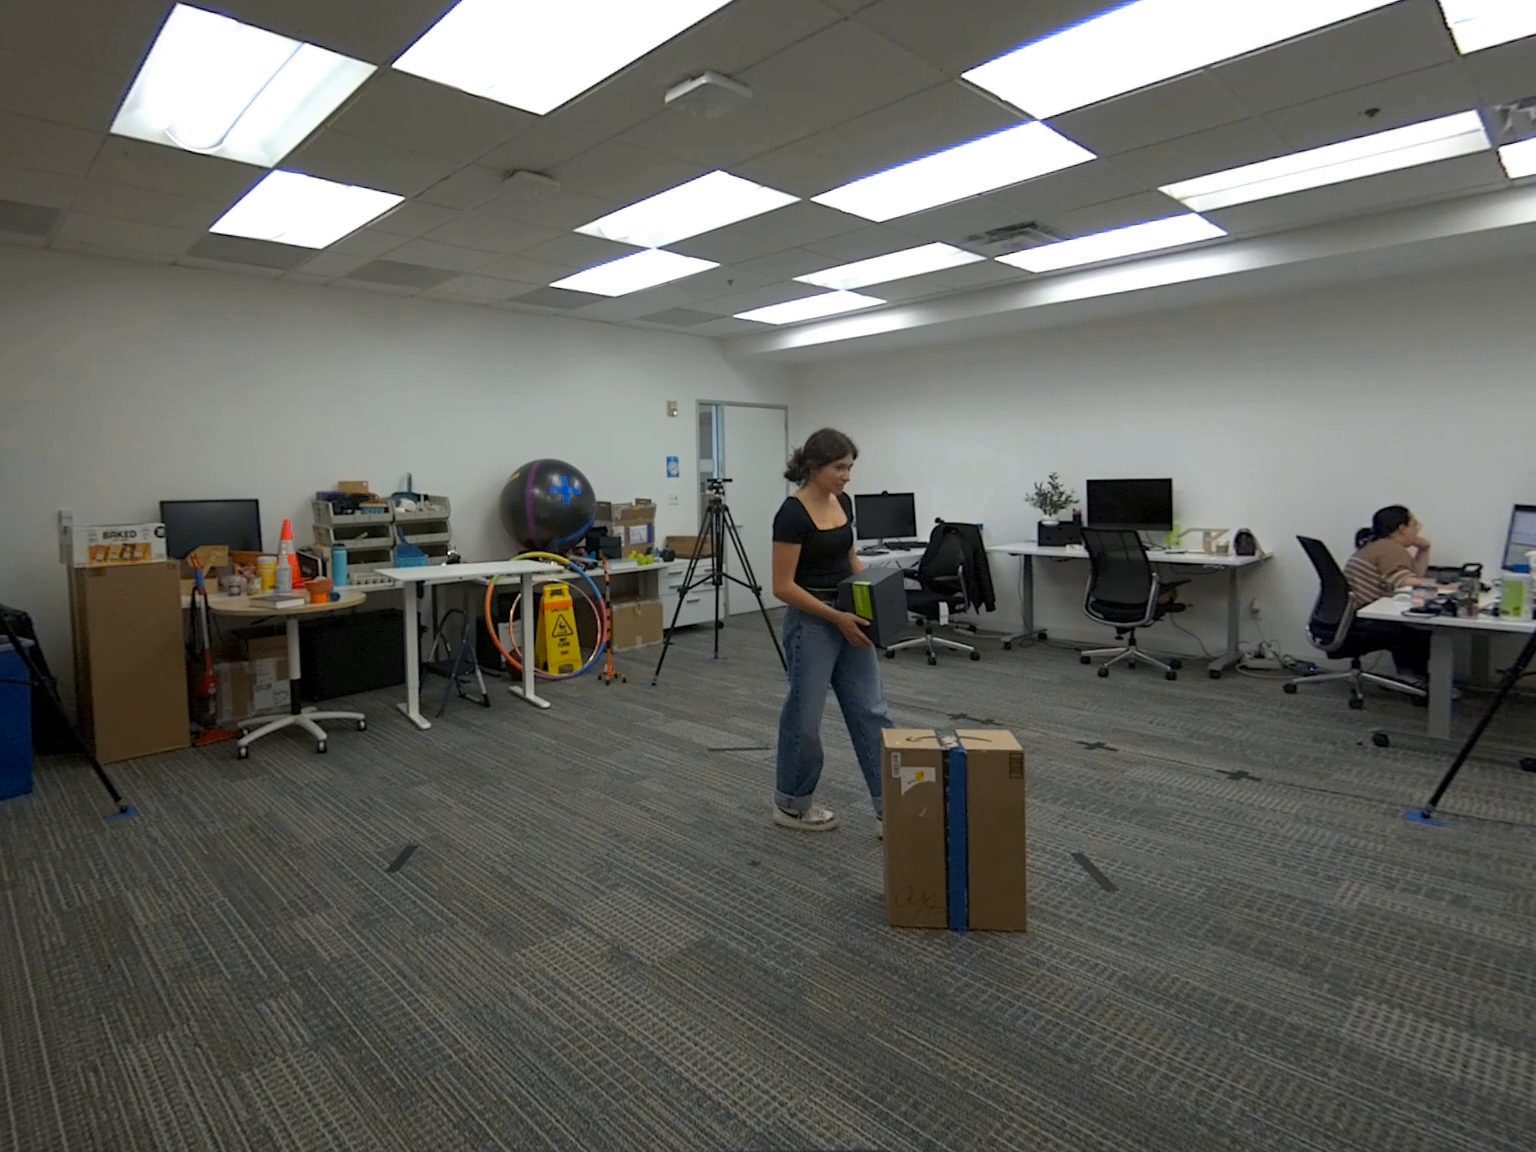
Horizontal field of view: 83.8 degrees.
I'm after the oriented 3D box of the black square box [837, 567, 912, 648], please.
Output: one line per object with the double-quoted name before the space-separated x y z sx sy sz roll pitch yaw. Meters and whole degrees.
"black square box" 0.394 0.110 3.175 0.160 0.225 0.213 1 17 41
